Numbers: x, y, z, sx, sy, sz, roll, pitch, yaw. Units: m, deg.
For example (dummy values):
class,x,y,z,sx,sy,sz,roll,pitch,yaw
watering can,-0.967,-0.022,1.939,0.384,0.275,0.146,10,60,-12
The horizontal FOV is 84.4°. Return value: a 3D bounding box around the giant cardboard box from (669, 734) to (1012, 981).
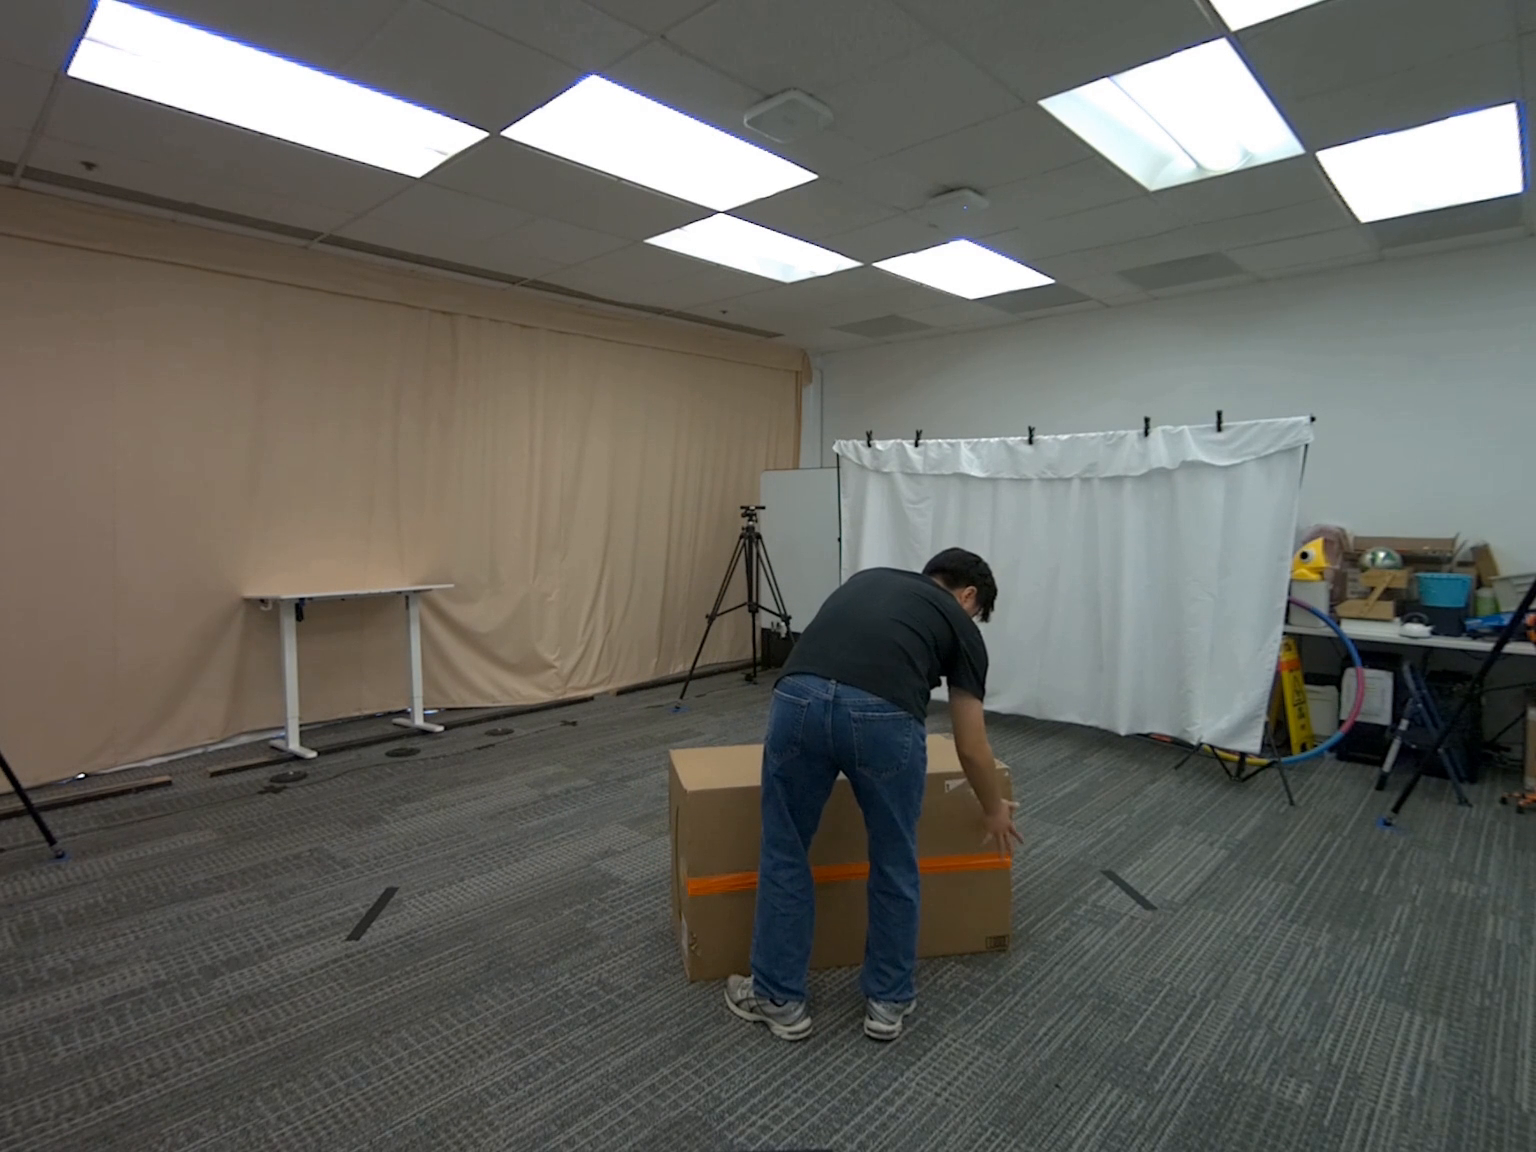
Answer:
class,x,y,z,sx,sy,sz,roll,pitch,yaw
giant cardboard box,0.213,0.874,2.733,1.015,0.582,0.453,-2,5,-11
